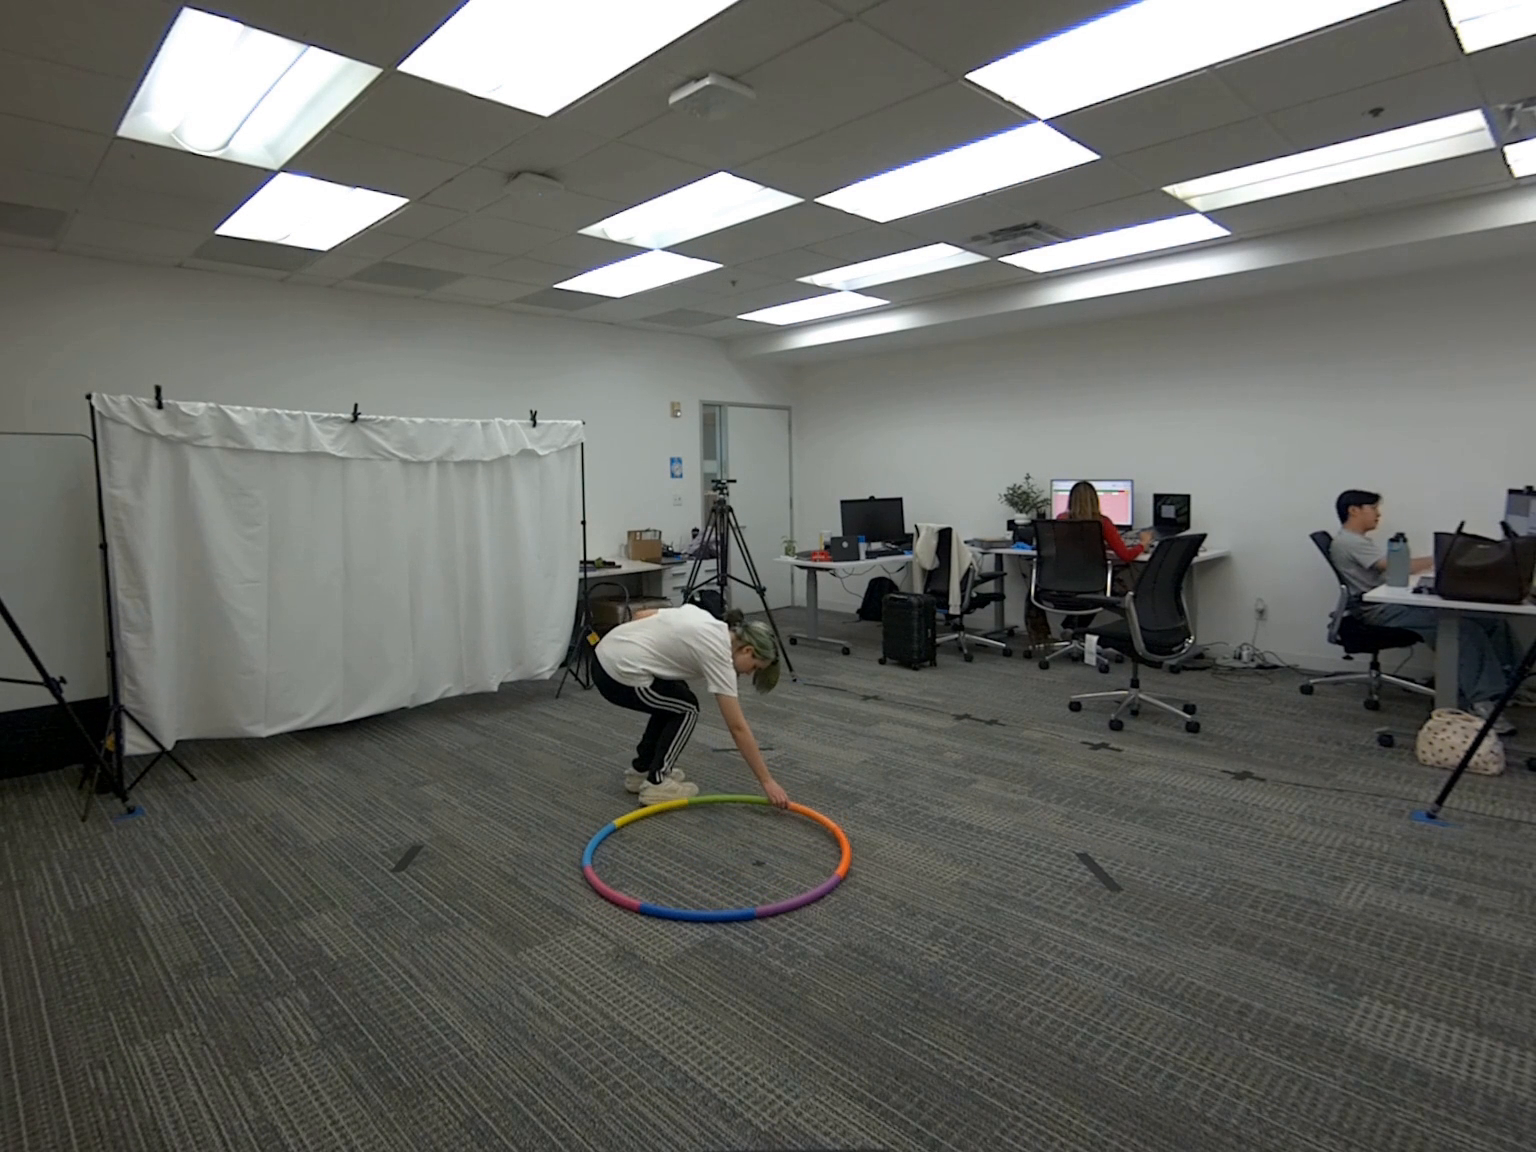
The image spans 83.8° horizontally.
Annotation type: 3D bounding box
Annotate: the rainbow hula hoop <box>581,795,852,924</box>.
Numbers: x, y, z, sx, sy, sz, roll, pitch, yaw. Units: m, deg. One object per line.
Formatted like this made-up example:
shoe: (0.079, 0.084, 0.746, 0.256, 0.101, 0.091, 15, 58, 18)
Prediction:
rainbow hula hoop: (-0.193, 1.000, 3.181, 0.978, 0.035, 0.986, -2, 8, -1)
